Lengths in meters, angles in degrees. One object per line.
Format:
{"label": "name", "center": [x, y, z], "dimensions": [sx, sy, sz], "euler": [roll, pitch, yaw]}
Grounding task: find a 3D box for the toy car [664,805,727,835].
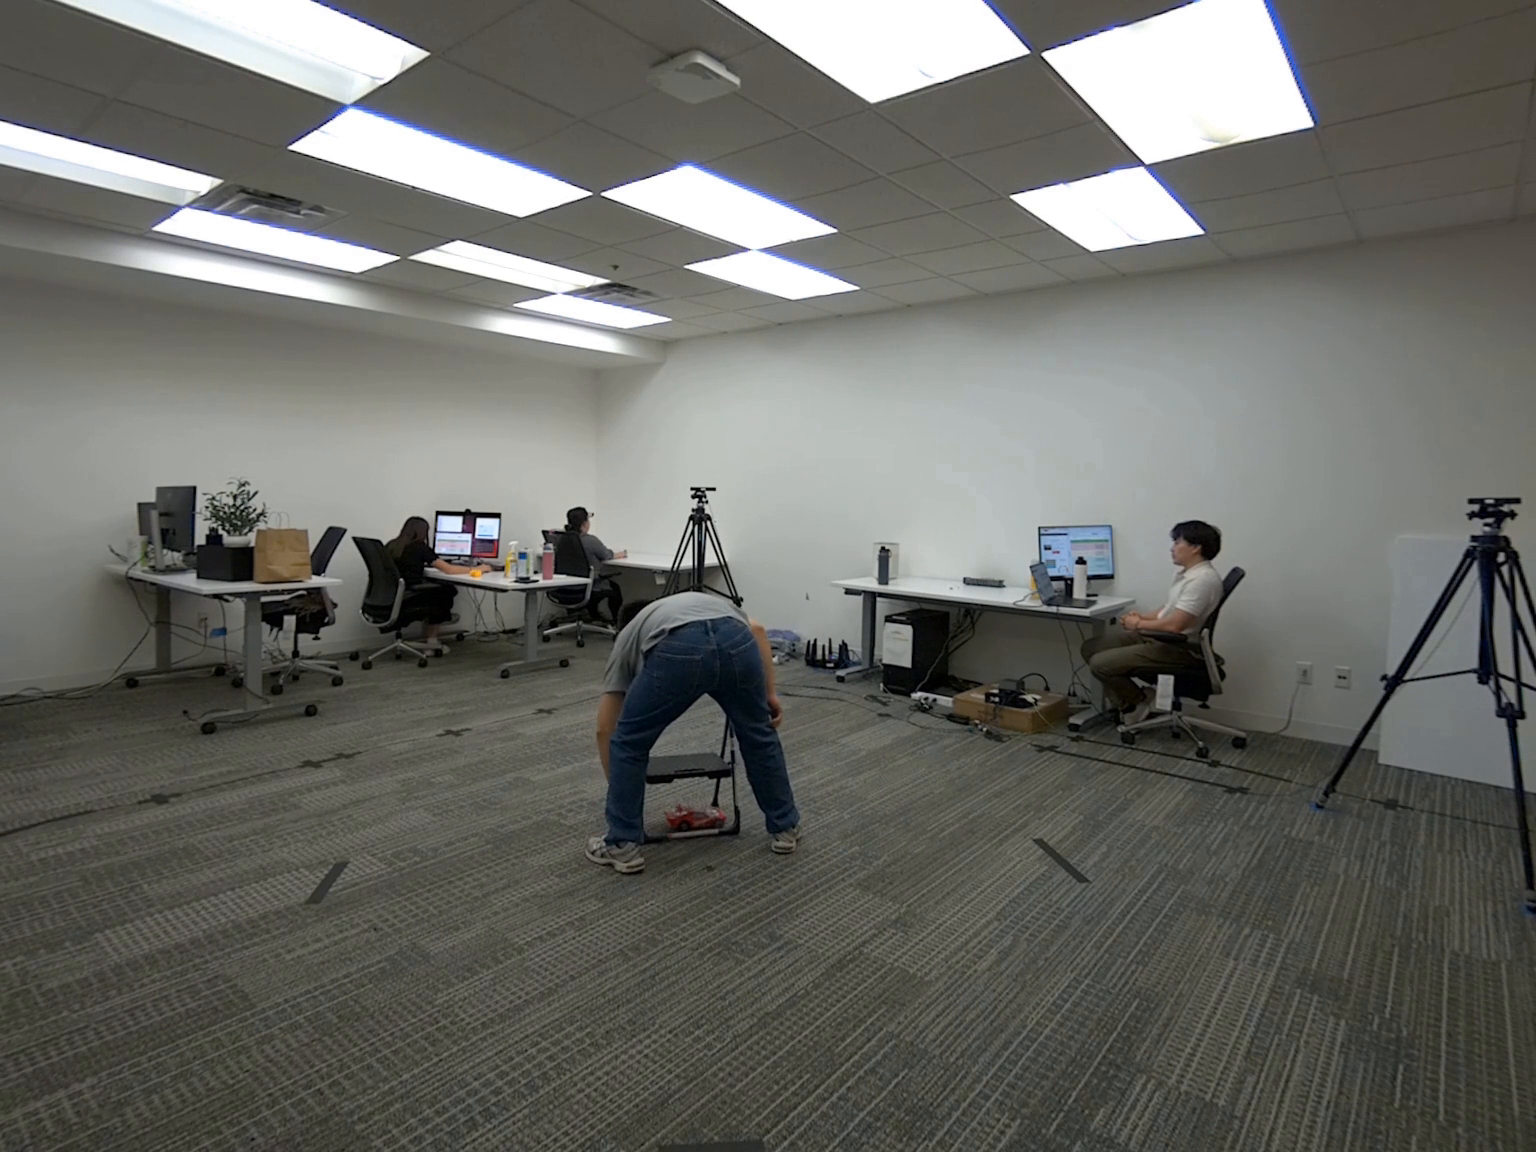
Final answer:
{"label": "toy car", "center": [-0.329, 0.999, 3.495], "dimensions": [0.250, 0.083, 0.133], "euler": [11, 2, -15]}
